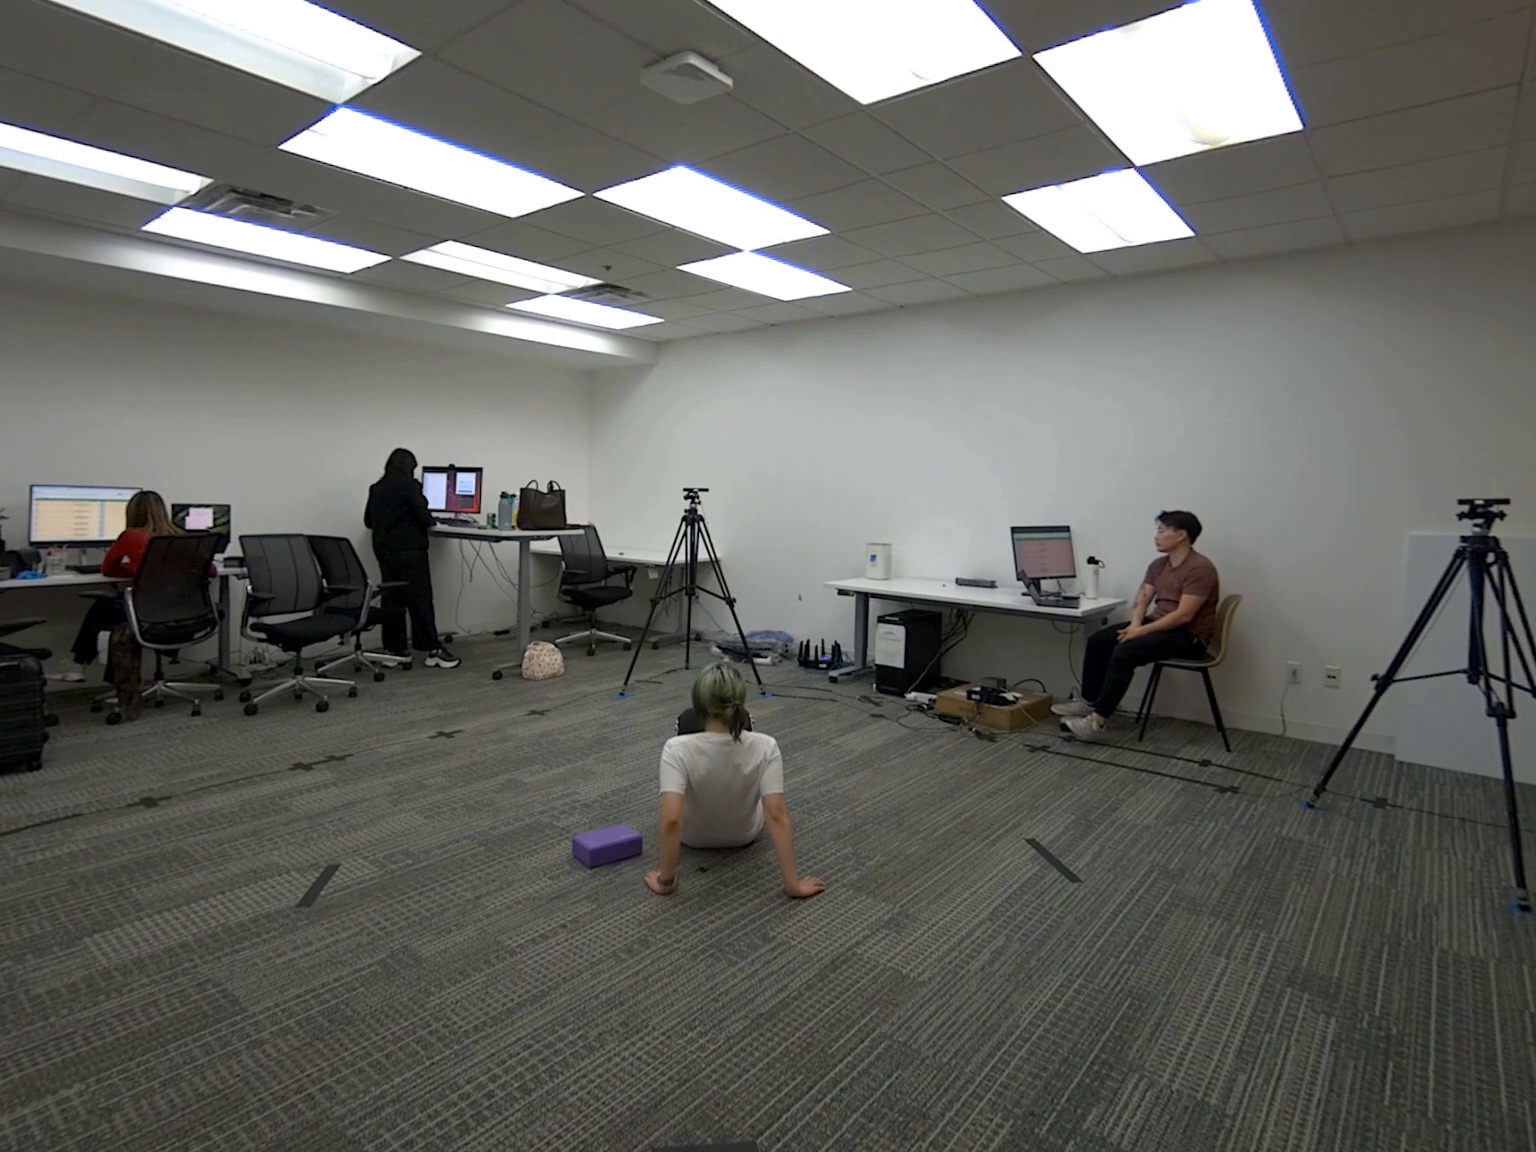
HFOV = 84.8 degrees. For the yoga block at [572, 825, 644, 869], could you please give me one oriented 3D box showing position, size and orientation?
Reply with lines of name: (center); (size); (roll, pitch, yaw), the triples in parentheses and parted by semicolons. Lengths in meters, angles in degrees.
yoga block: (-0.618, 1.014, 3.220); (0.223, 0.076, 0.154); (-4, 6, -39)
